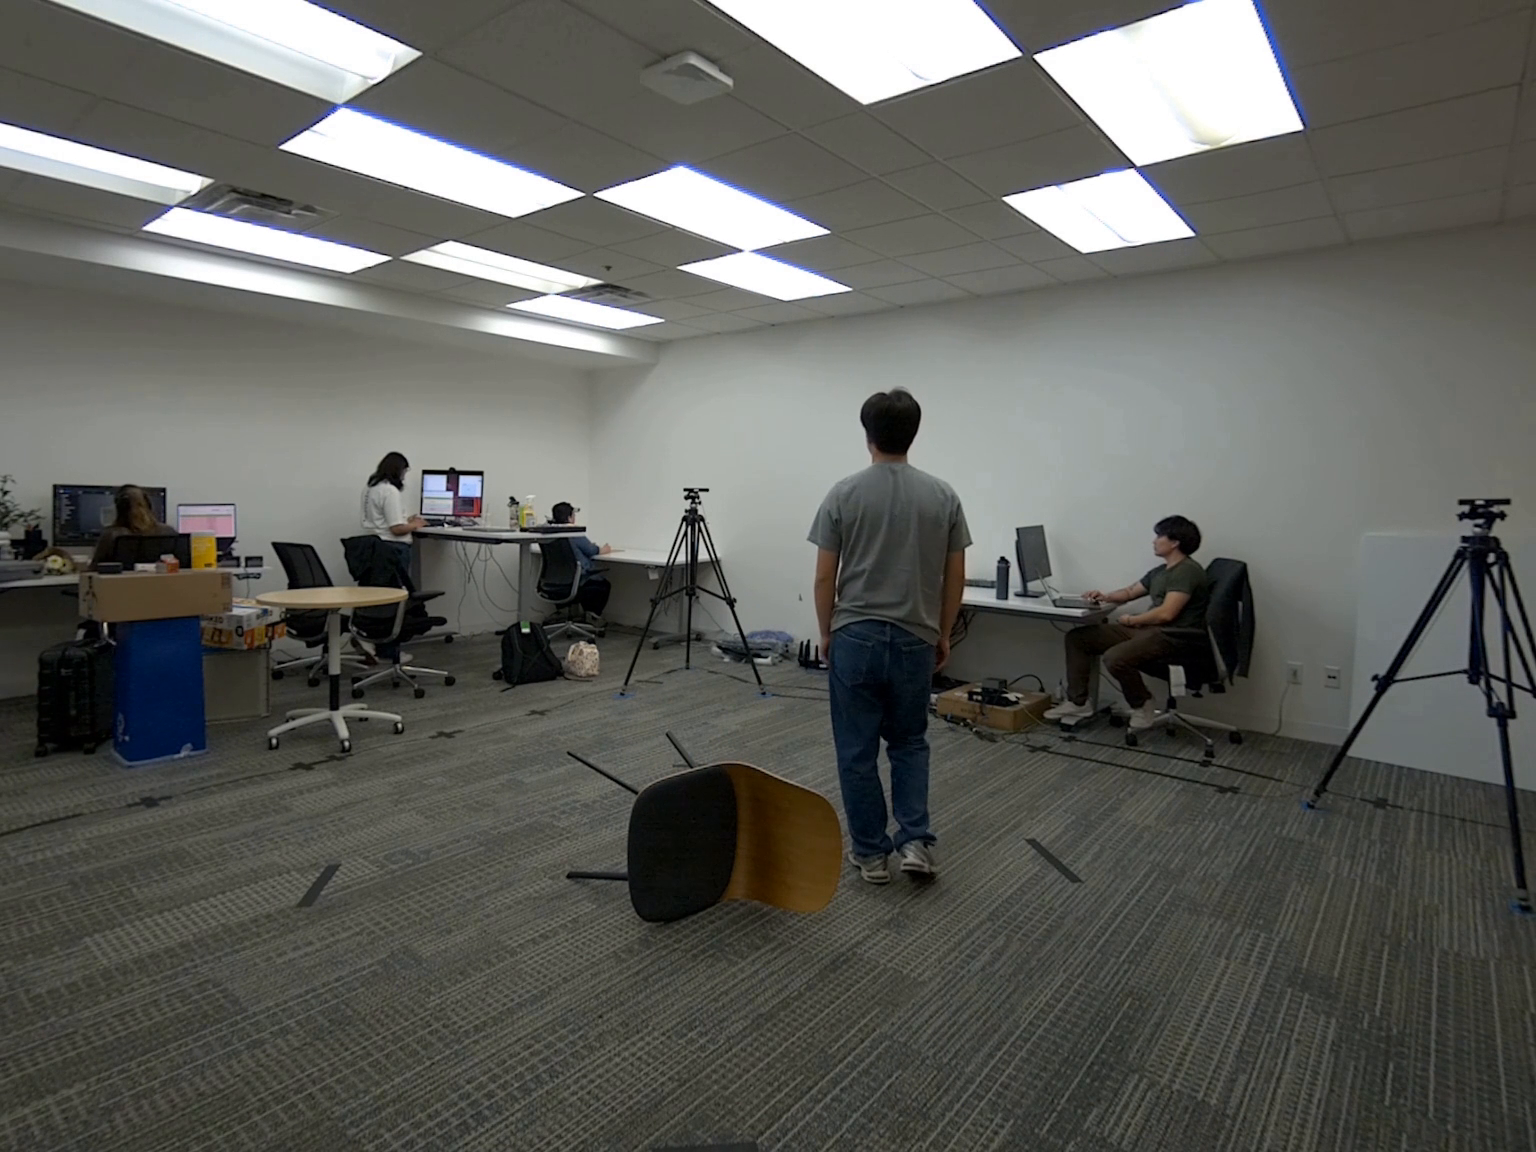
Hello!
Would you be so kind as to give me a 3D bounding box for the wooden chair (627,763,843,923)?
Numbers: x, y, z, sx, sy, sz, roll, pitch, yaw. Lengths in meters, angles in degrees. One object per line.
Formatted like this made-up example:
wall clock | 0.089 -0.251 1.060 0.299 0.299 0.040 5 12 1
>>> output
wooden chair | -0.270 0.864 2.832 0.907 0.477 0.507 5 6 43
